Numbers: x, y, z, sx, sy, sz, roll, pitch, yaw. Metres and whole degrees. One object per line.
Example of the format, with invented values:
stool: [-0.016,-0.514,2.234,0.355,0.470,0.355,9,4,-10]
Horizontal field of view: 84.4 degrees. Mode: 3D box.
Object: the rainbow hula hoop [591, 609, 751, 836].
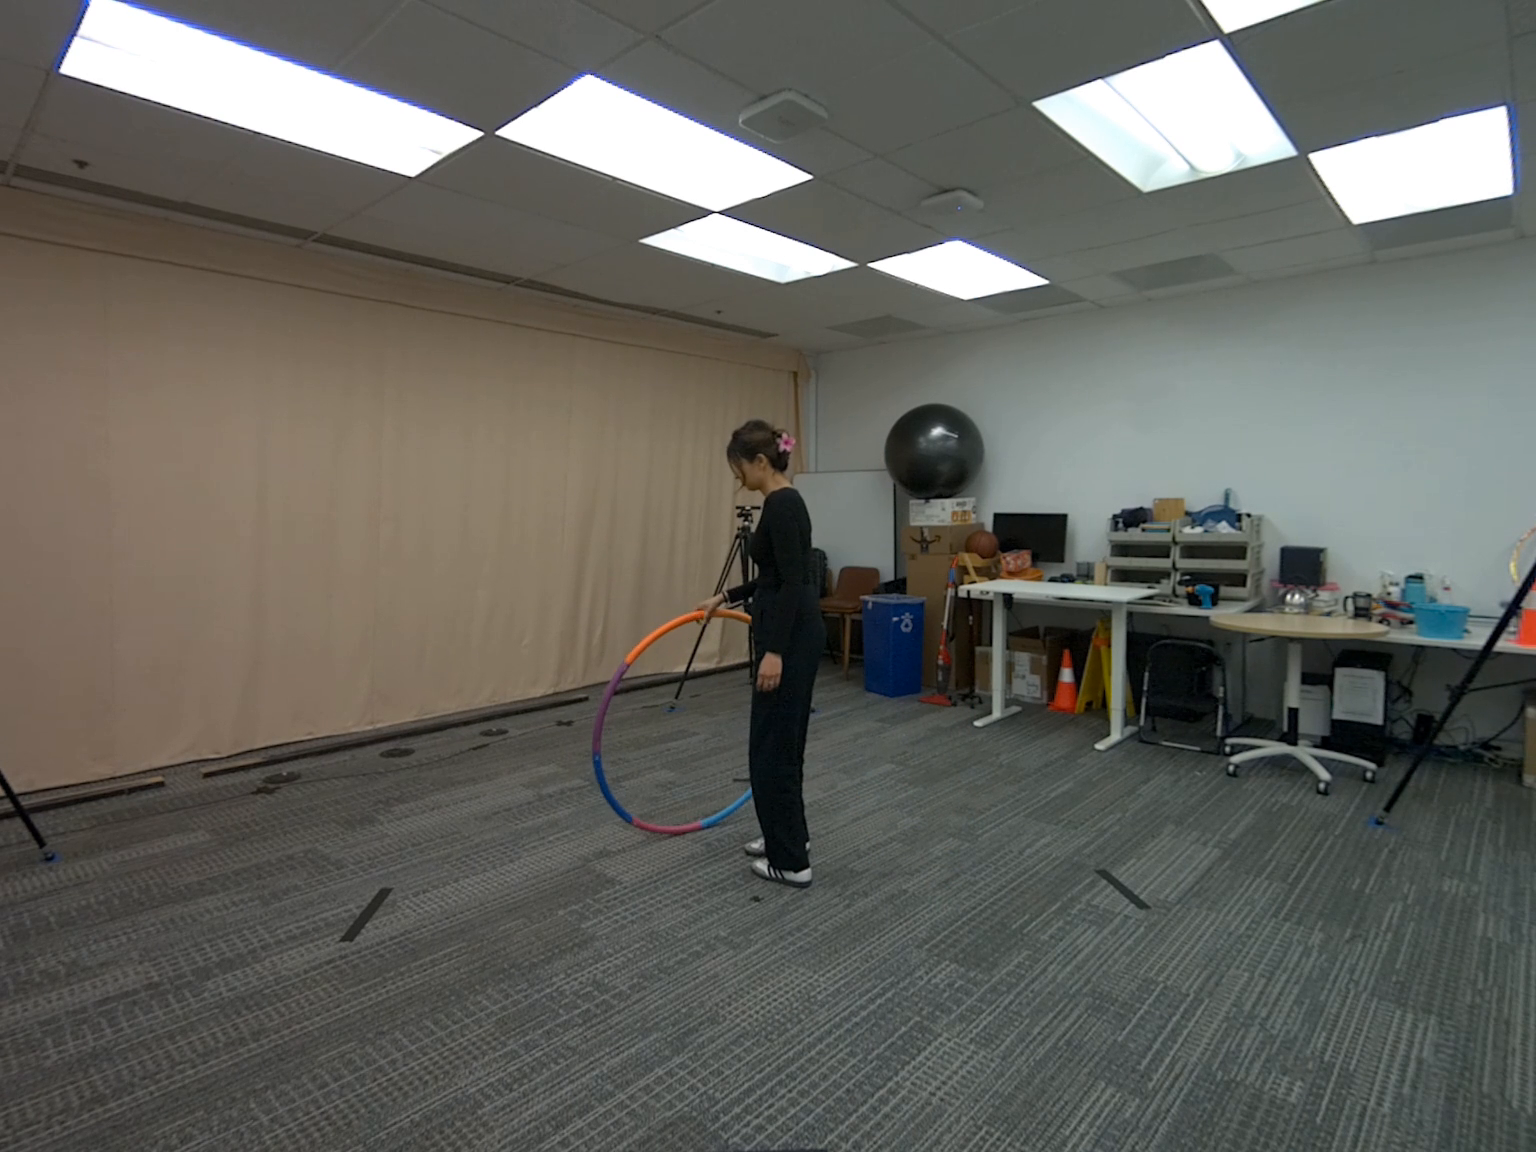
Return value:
rainbow hula hoop: [-0.266,0.618,3.521,0.951,0.973,0.037,-2,14,-34]
